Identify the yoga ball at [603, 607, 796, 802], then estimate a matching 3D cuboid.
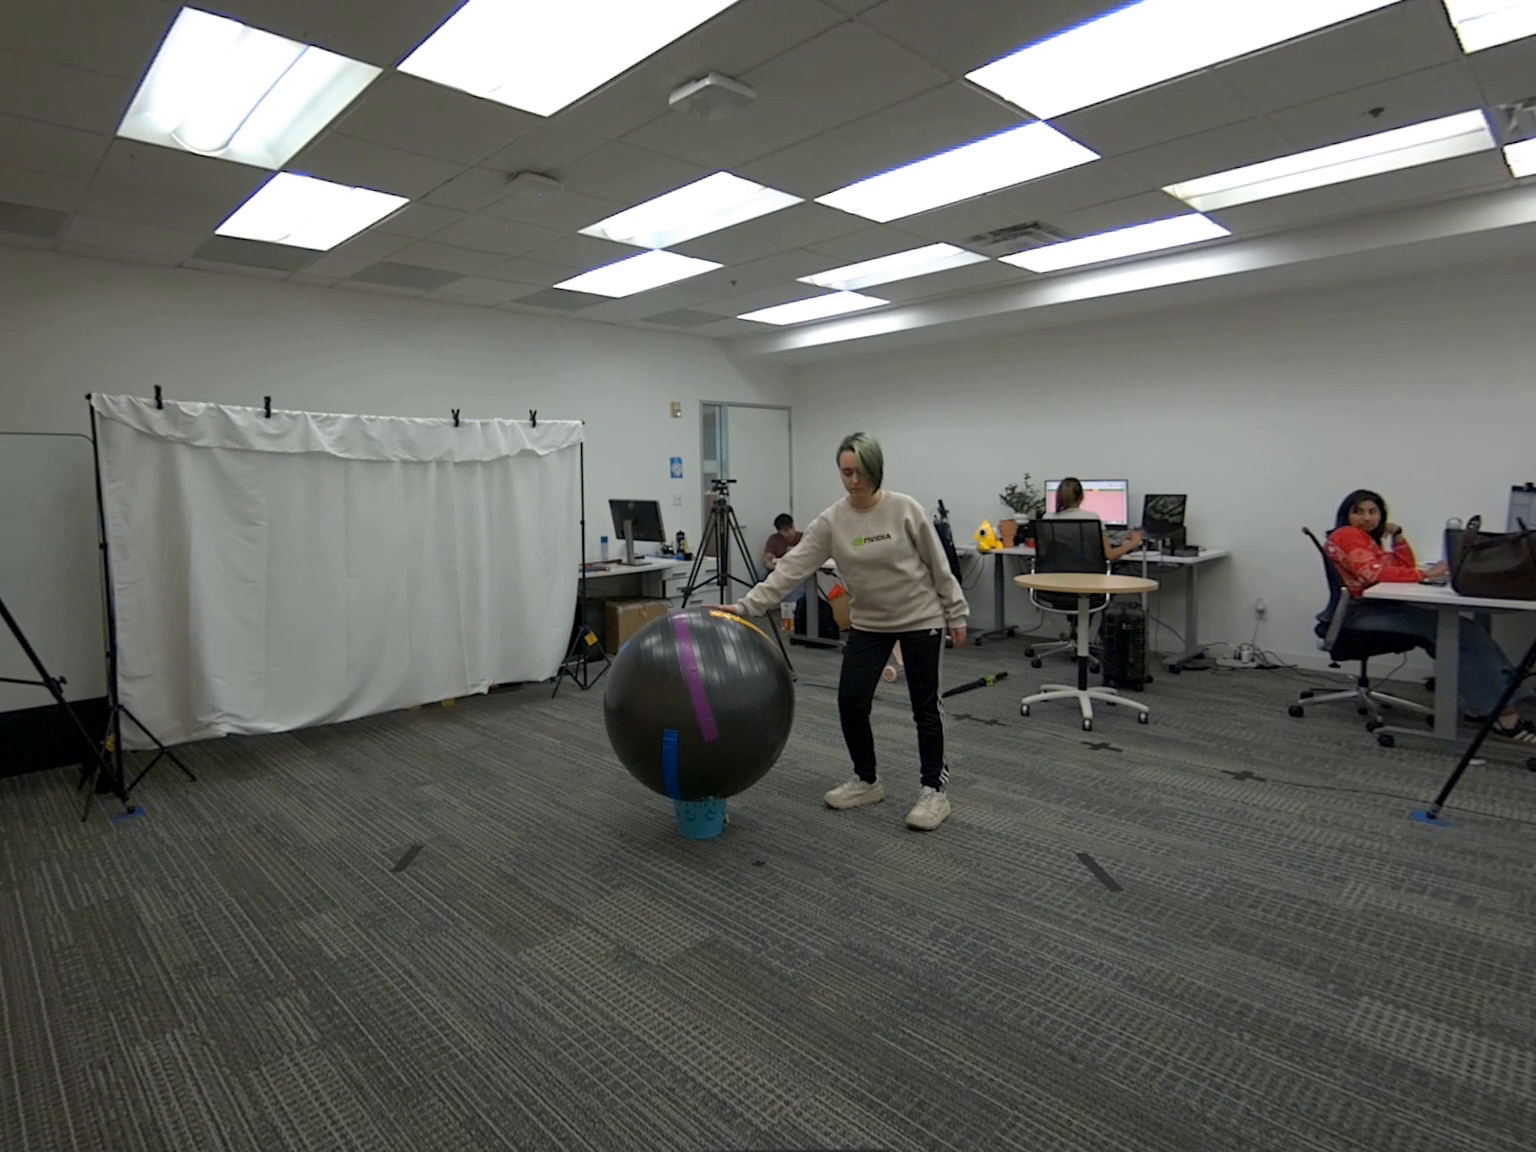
[{"bbox_3d":[-0.270,0.508,3.398,0.757,0.755,0.762,-1,5,-2],"label":"yoga ball"}]
